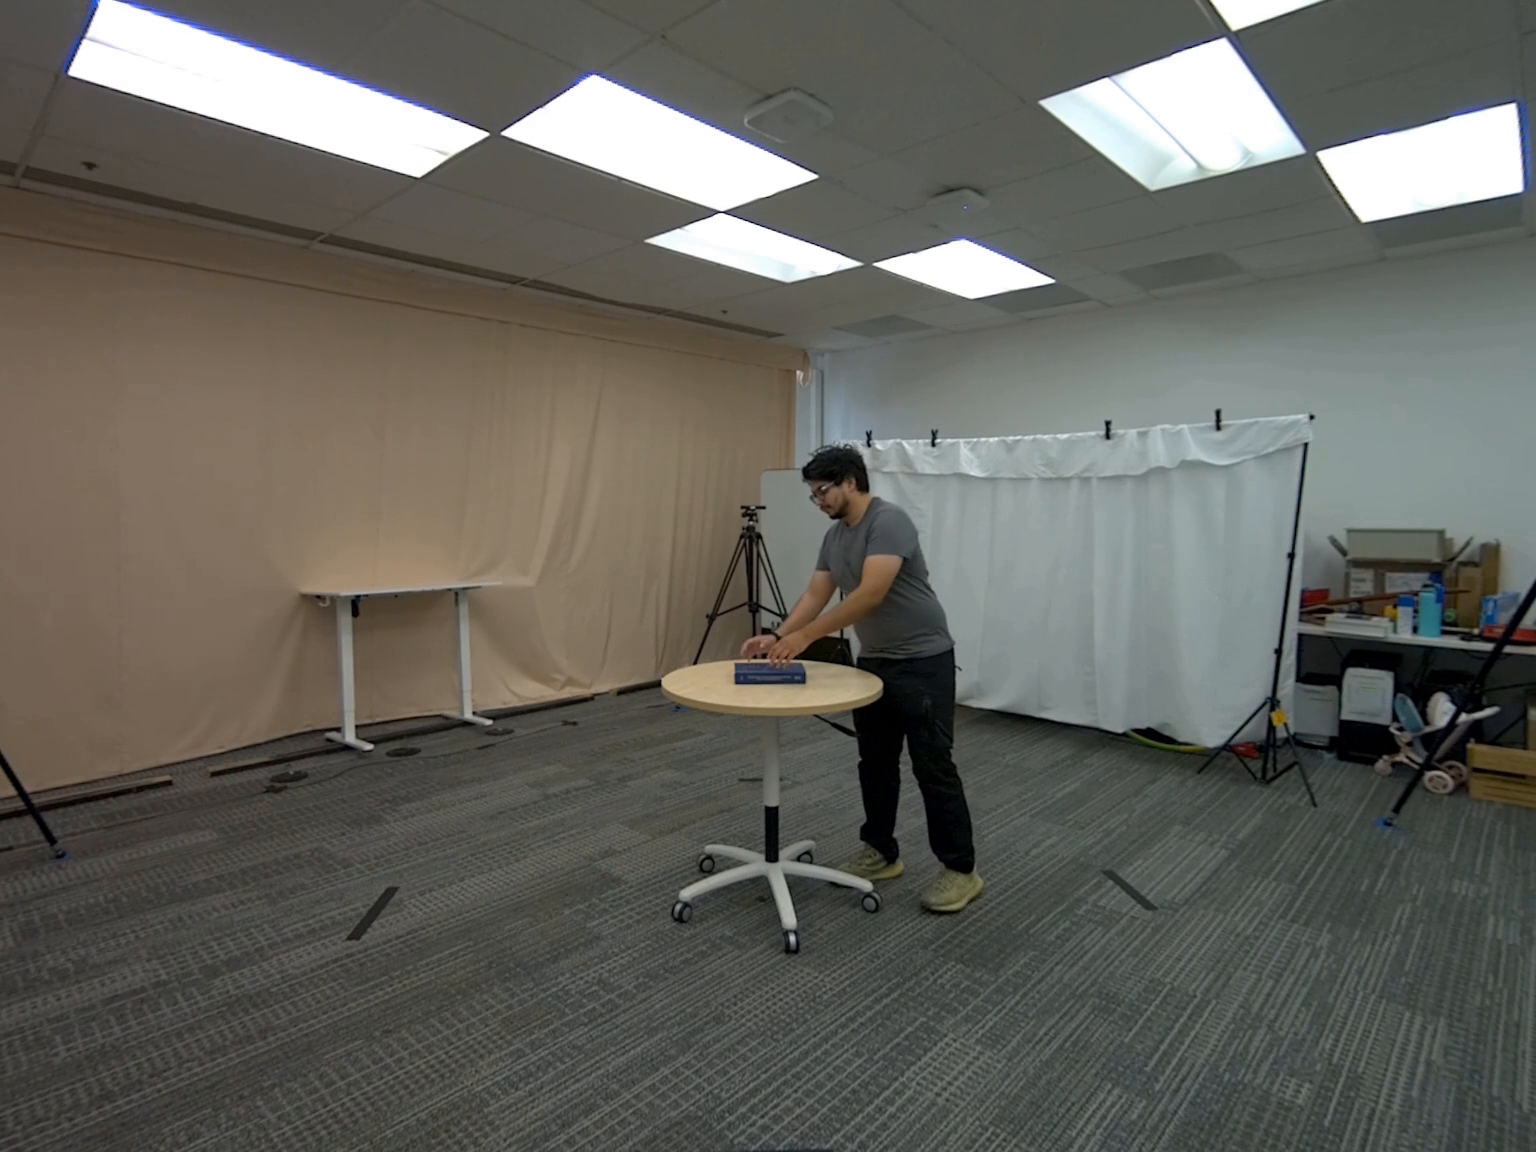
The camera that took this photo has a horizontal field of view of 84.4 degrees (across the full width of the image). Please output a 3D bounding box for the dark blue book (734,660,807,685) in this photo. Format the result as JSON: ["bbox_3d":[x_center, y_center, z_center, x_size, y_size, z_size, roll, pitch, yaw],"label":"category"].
[{"bbox_3d":[0.015,0.343,2.947,0.245,0.045,0.163,0,4,0],"label":"dark blue book"}]
